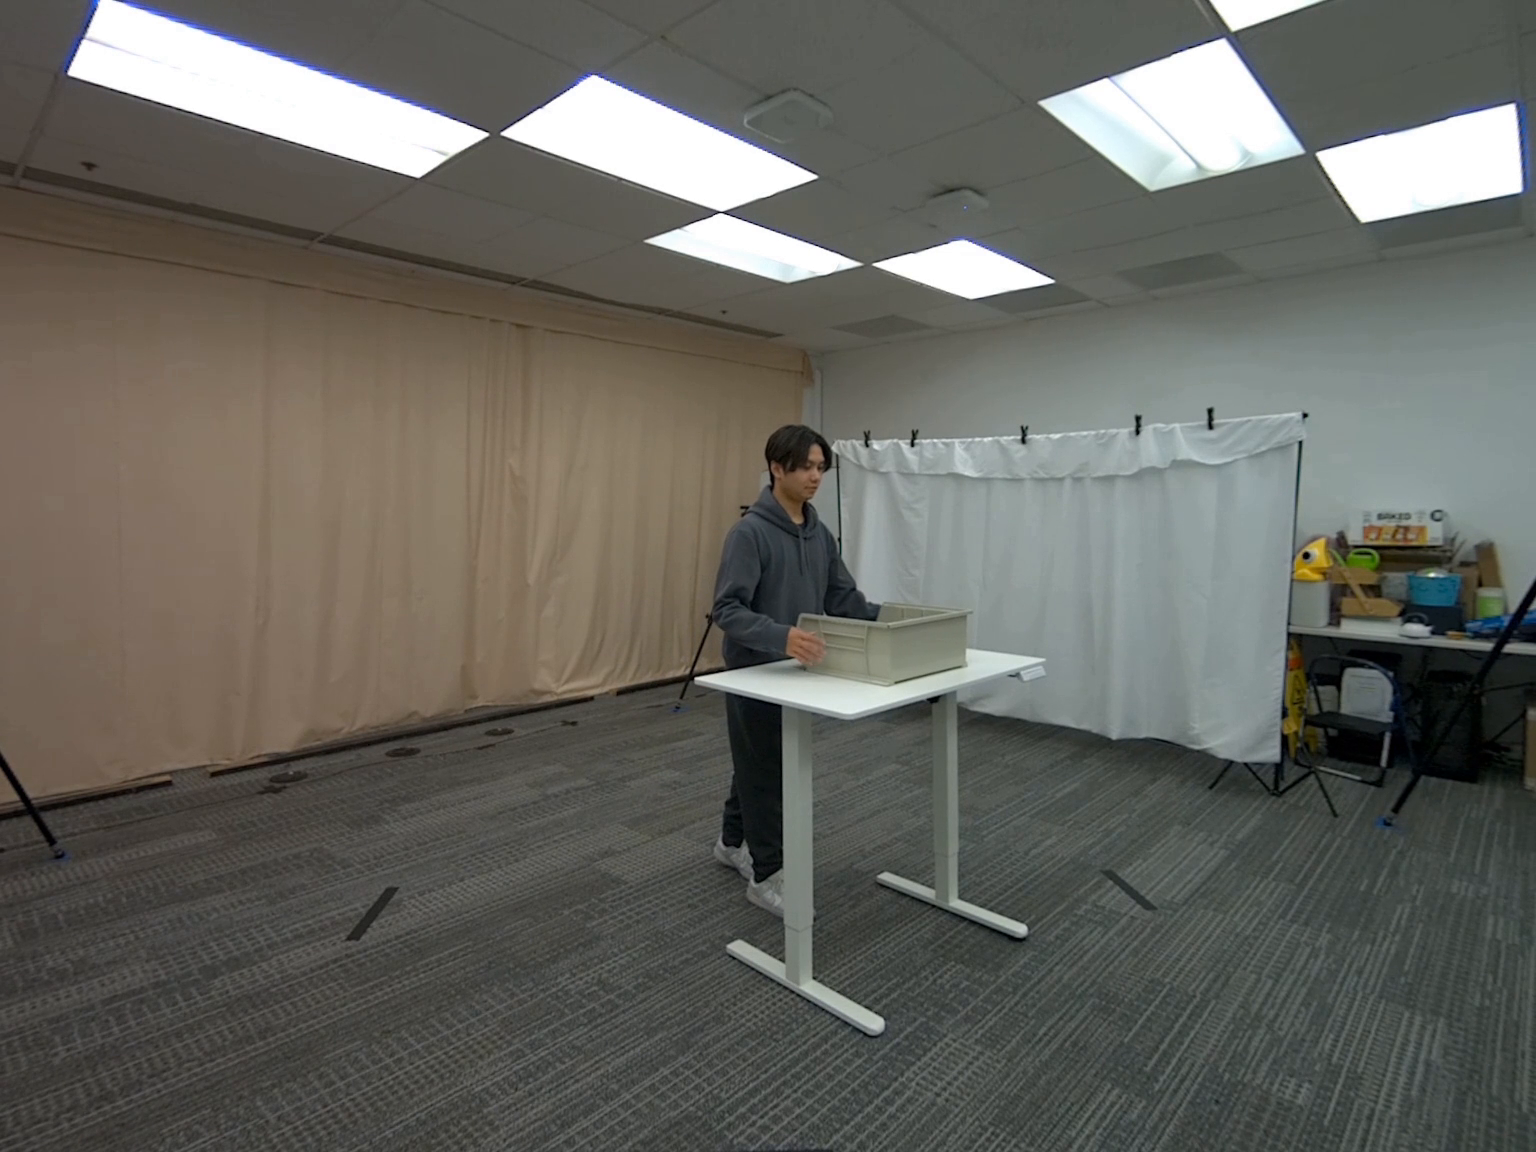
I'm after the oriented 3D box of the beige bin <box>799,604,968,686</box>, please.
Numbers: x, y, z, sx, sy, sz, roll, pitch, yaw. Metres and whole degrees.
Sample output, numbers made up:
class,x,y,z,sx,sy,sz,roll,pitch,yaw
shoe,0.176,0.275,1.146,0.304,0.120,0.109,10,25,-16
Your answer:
class,x,y,z,sx,sy,sz,roll,pitch,yaw
beige bin,0.368,0.205,2.619,0.409,0.188,0.390,-4,6,-43
